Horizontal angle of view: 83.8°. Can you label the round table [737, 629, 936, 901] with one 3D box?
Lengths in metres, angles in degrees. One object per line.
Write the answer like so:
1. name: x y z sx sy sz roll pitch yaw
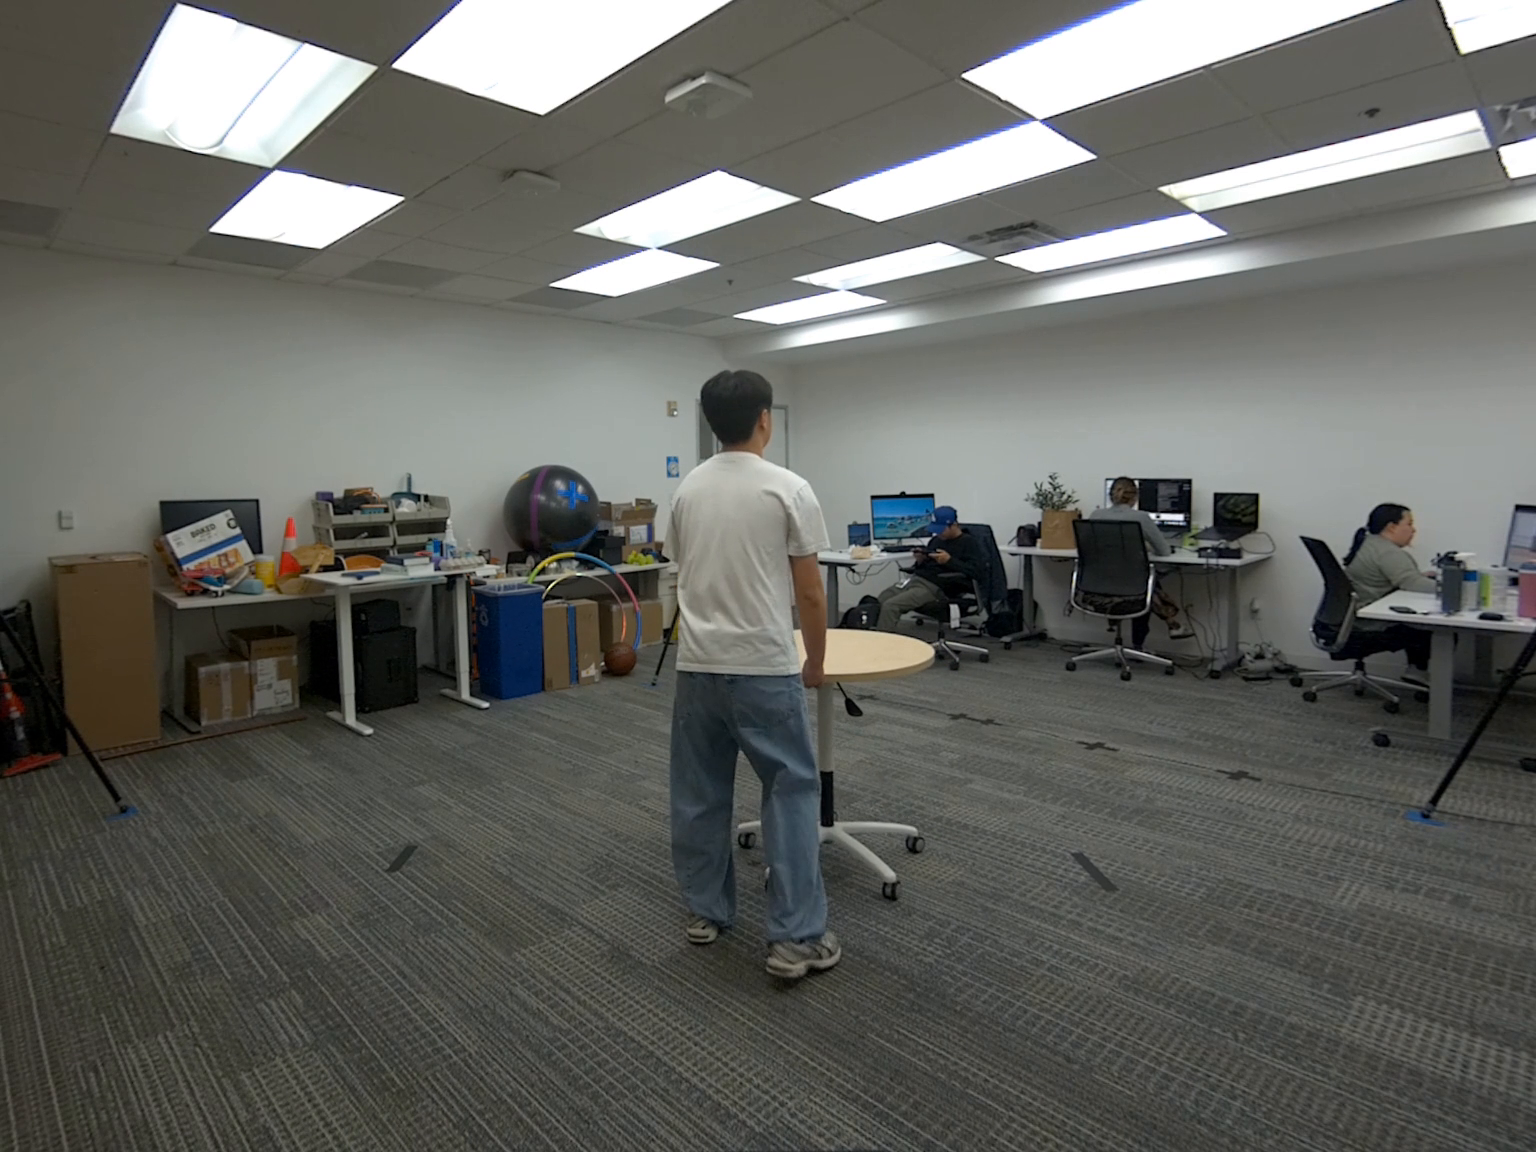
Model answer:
1. round table: 0.214 0.653 3.083 0.763 0.791 0.768 -1 5 -2
